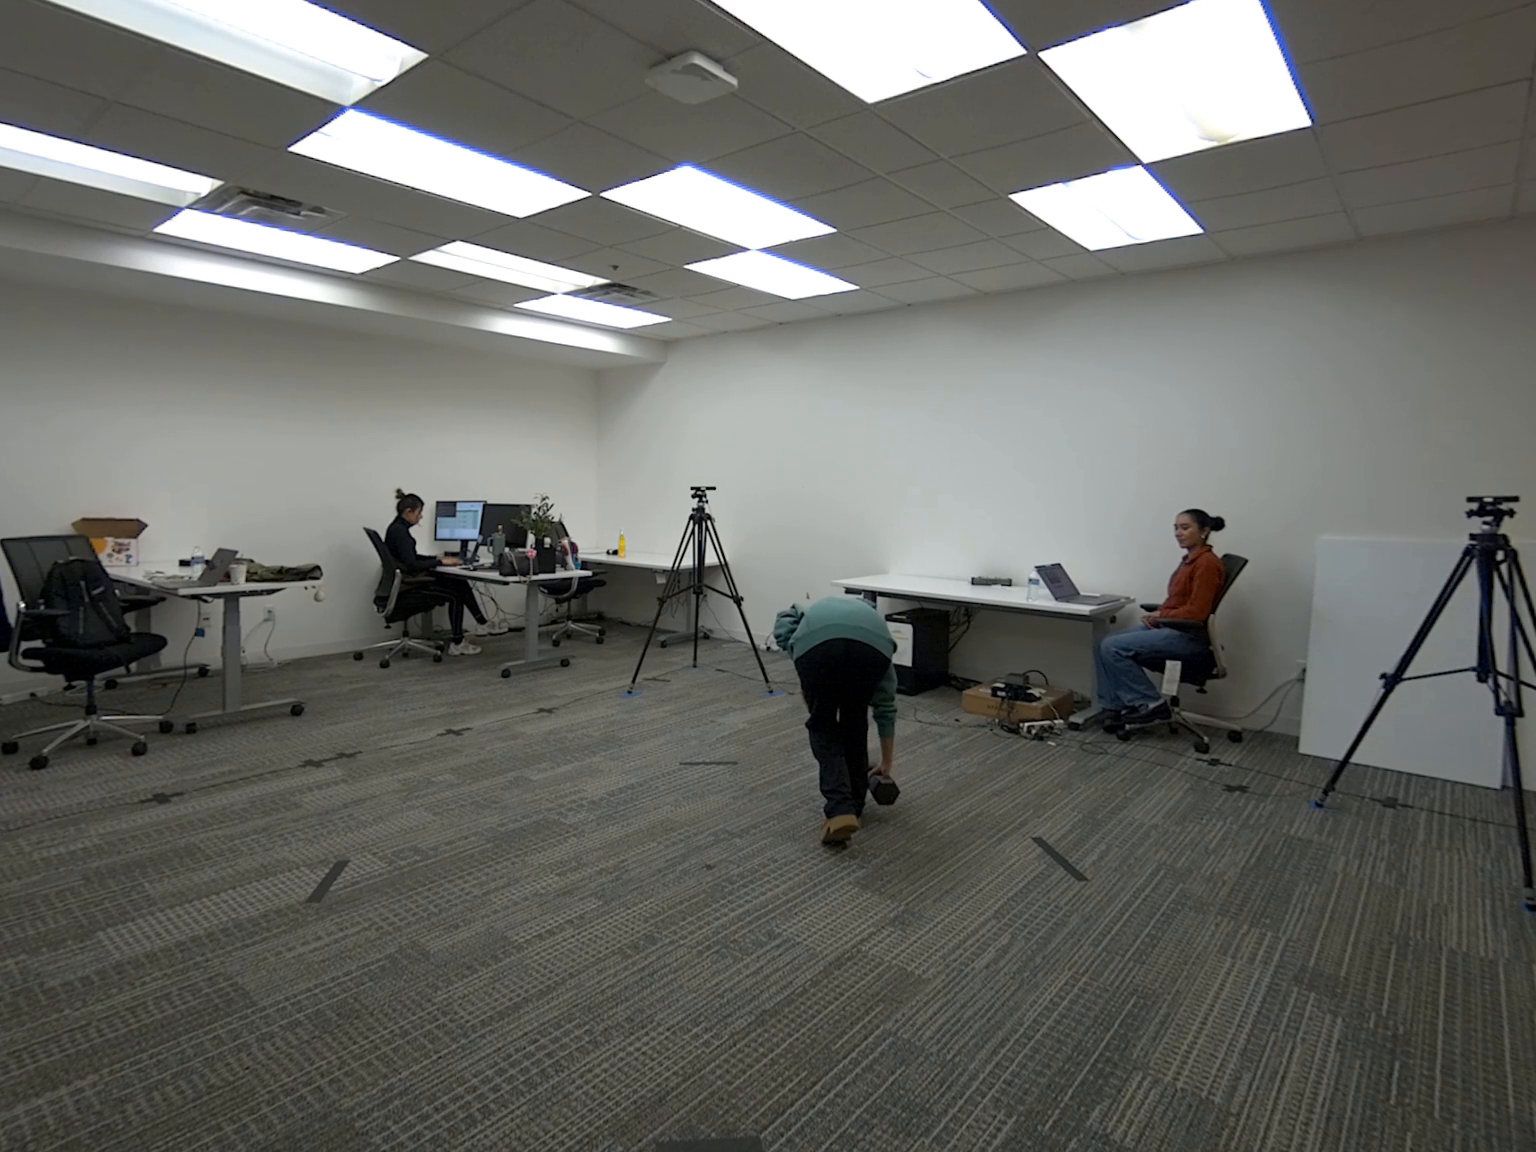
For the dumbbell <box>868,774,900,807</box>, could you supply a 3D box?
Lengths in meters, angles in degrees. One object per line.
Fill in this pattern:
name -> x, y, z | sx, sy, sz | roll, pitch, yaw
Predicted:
dumbbell -> 0.469, 0.889, 3.703 | 0.107, 0.123, 0.297 | 31, -1, -10
